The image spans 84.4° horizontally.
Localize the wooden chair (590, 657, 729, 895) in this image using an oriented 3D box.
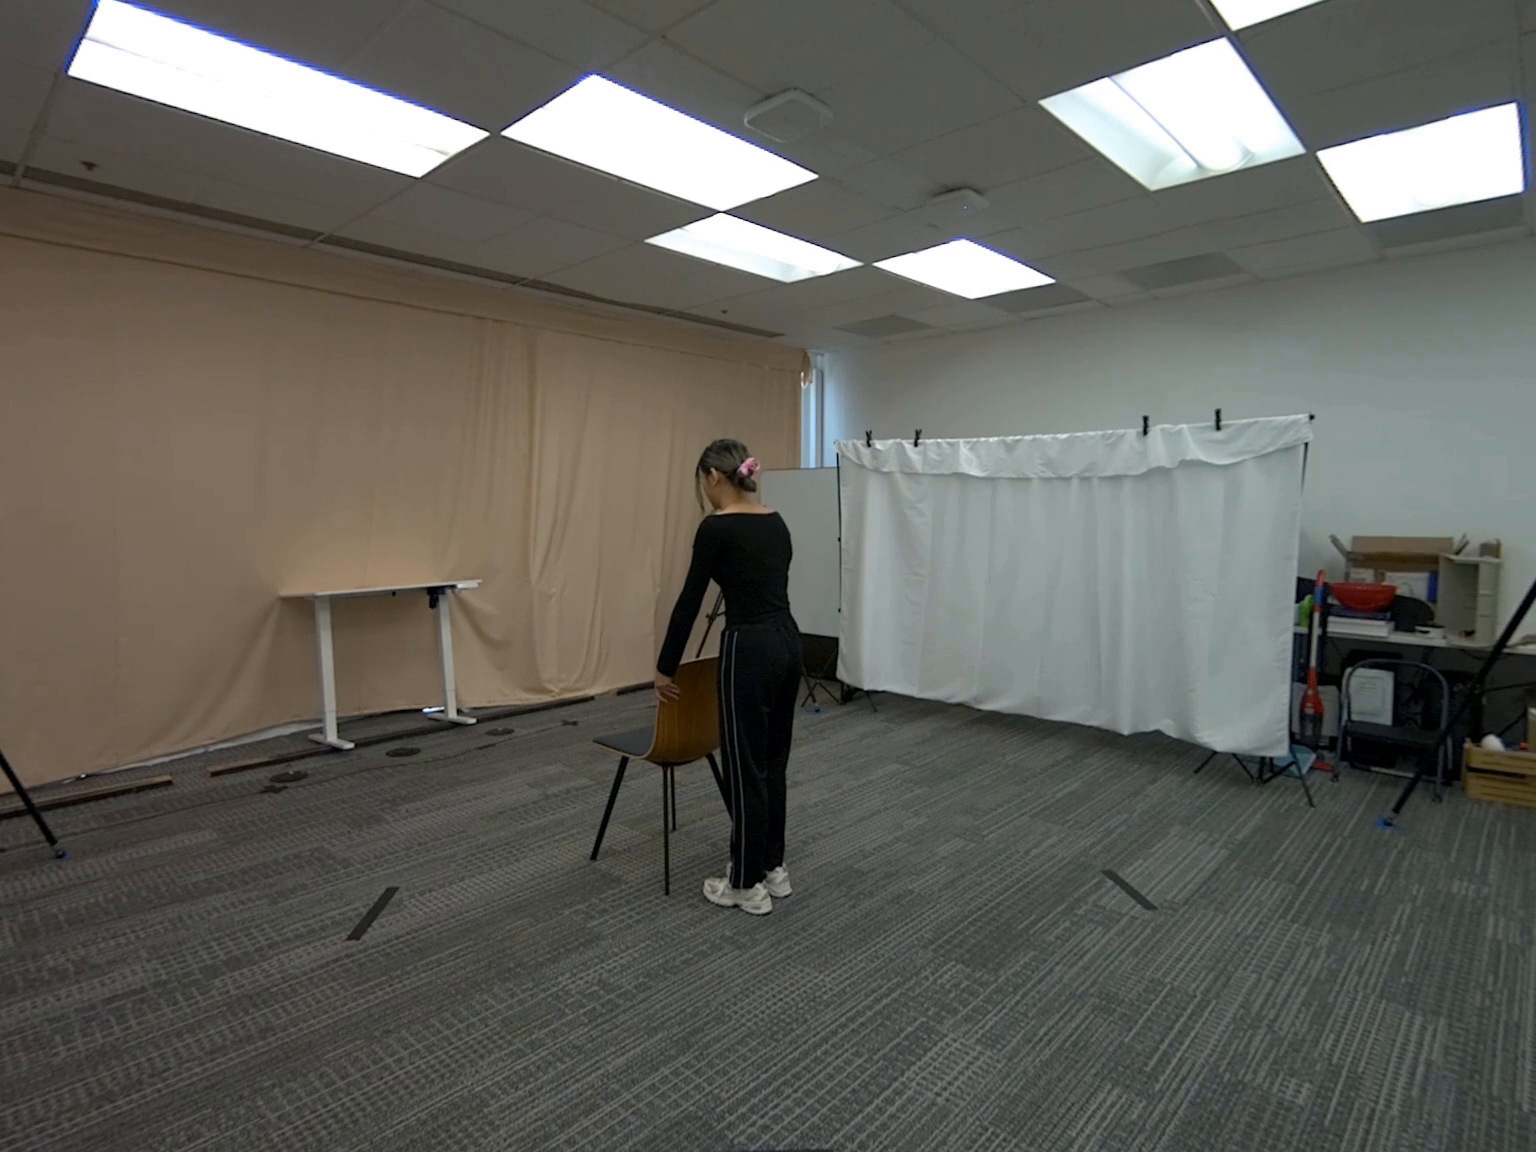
[{"bbox_3d":[-0.397,0.694,3.305,0.541,0.874,0.463,9,9,43],"label":"wooden chair"}]
